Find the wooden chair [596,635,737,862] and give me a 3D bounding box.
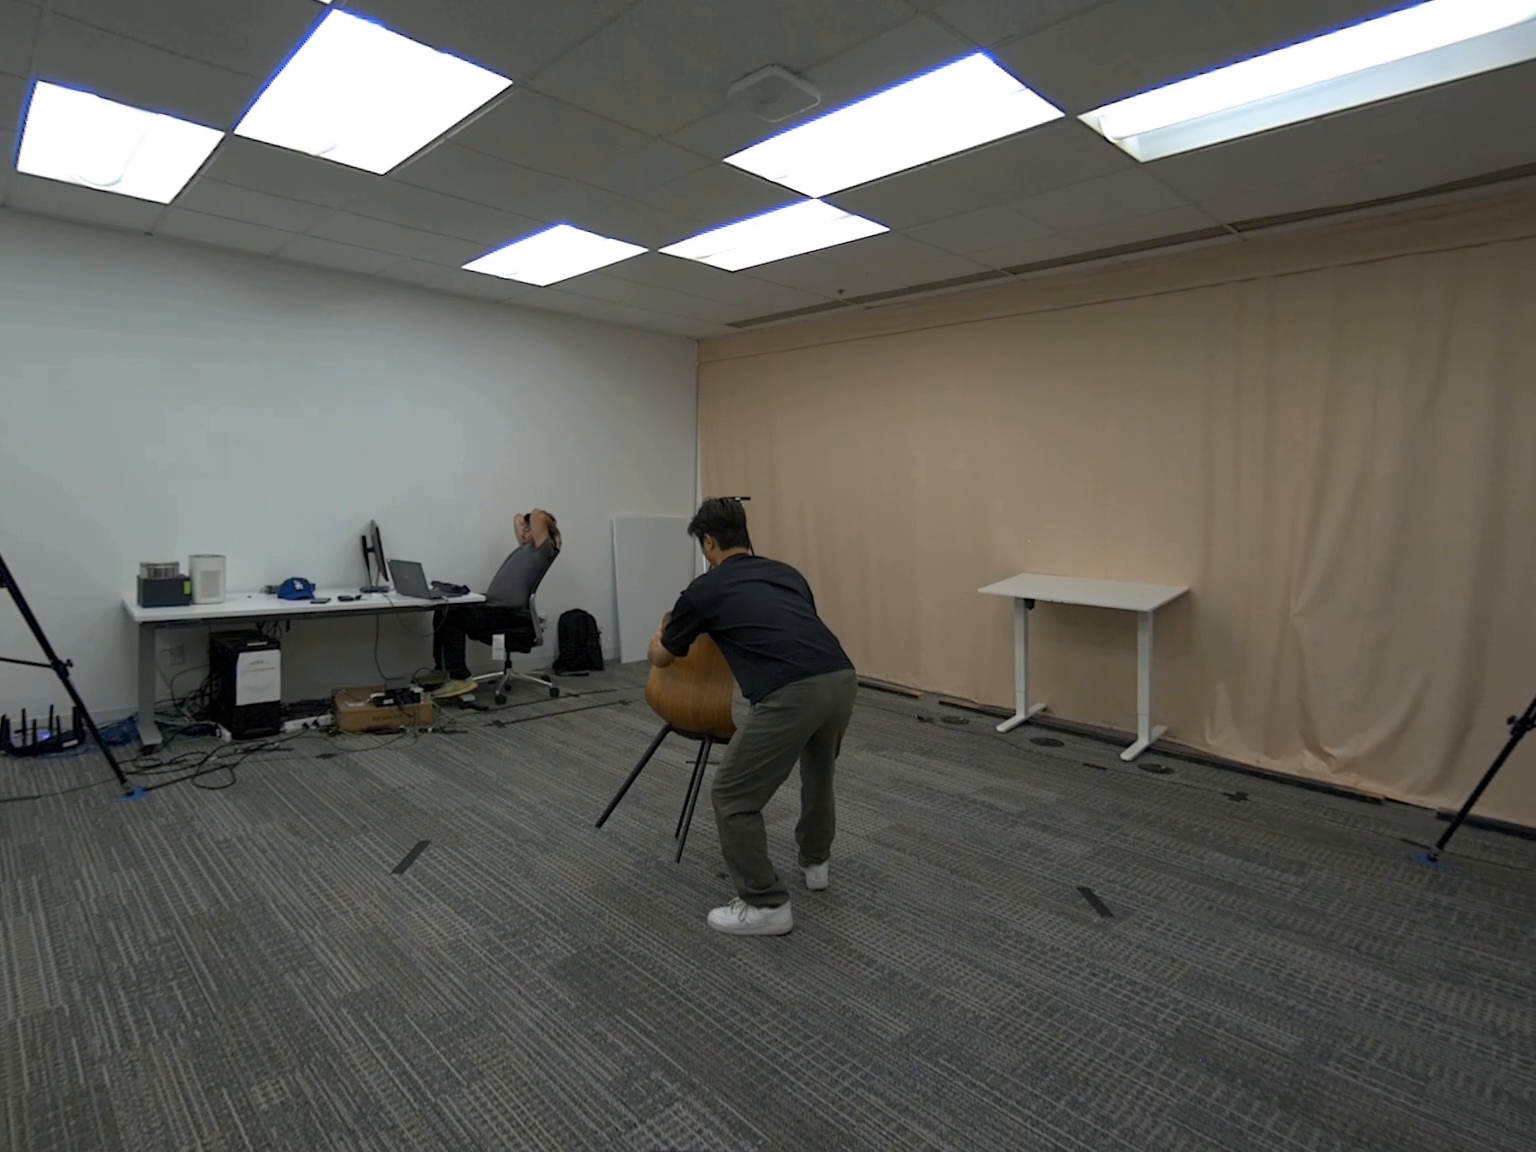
[{"bbox_3d":[-0.234,0.618,3.224,0.490,0.882,0.507,4,-12,41],"label":"wooden chair"}]
